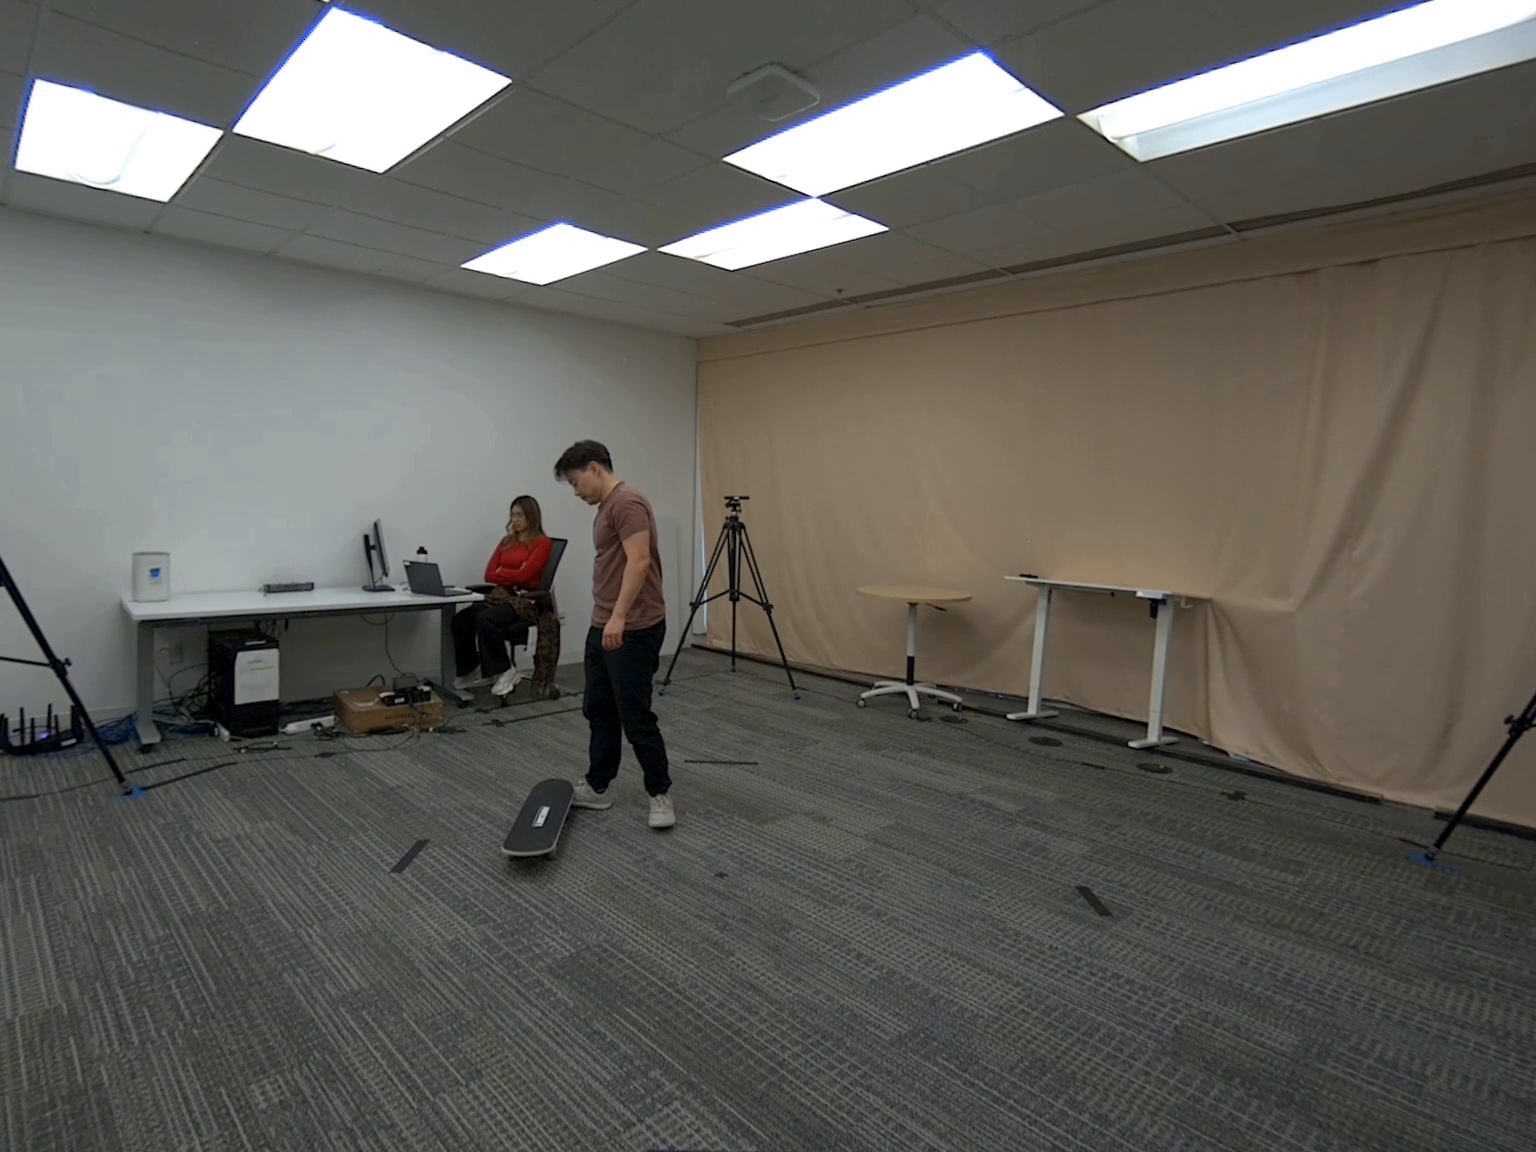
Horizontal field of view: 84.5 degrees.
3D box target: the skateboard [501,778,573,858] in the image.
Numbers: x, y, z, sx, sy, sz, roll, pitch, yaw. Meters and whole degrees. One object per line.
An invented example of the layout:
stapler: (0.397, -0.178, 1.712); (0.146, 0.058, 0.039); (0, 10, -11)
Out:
skateboard: (-0.925, 1.004, 3.391); (0.193, 0.110, 0.790); (2, 4, -5)
